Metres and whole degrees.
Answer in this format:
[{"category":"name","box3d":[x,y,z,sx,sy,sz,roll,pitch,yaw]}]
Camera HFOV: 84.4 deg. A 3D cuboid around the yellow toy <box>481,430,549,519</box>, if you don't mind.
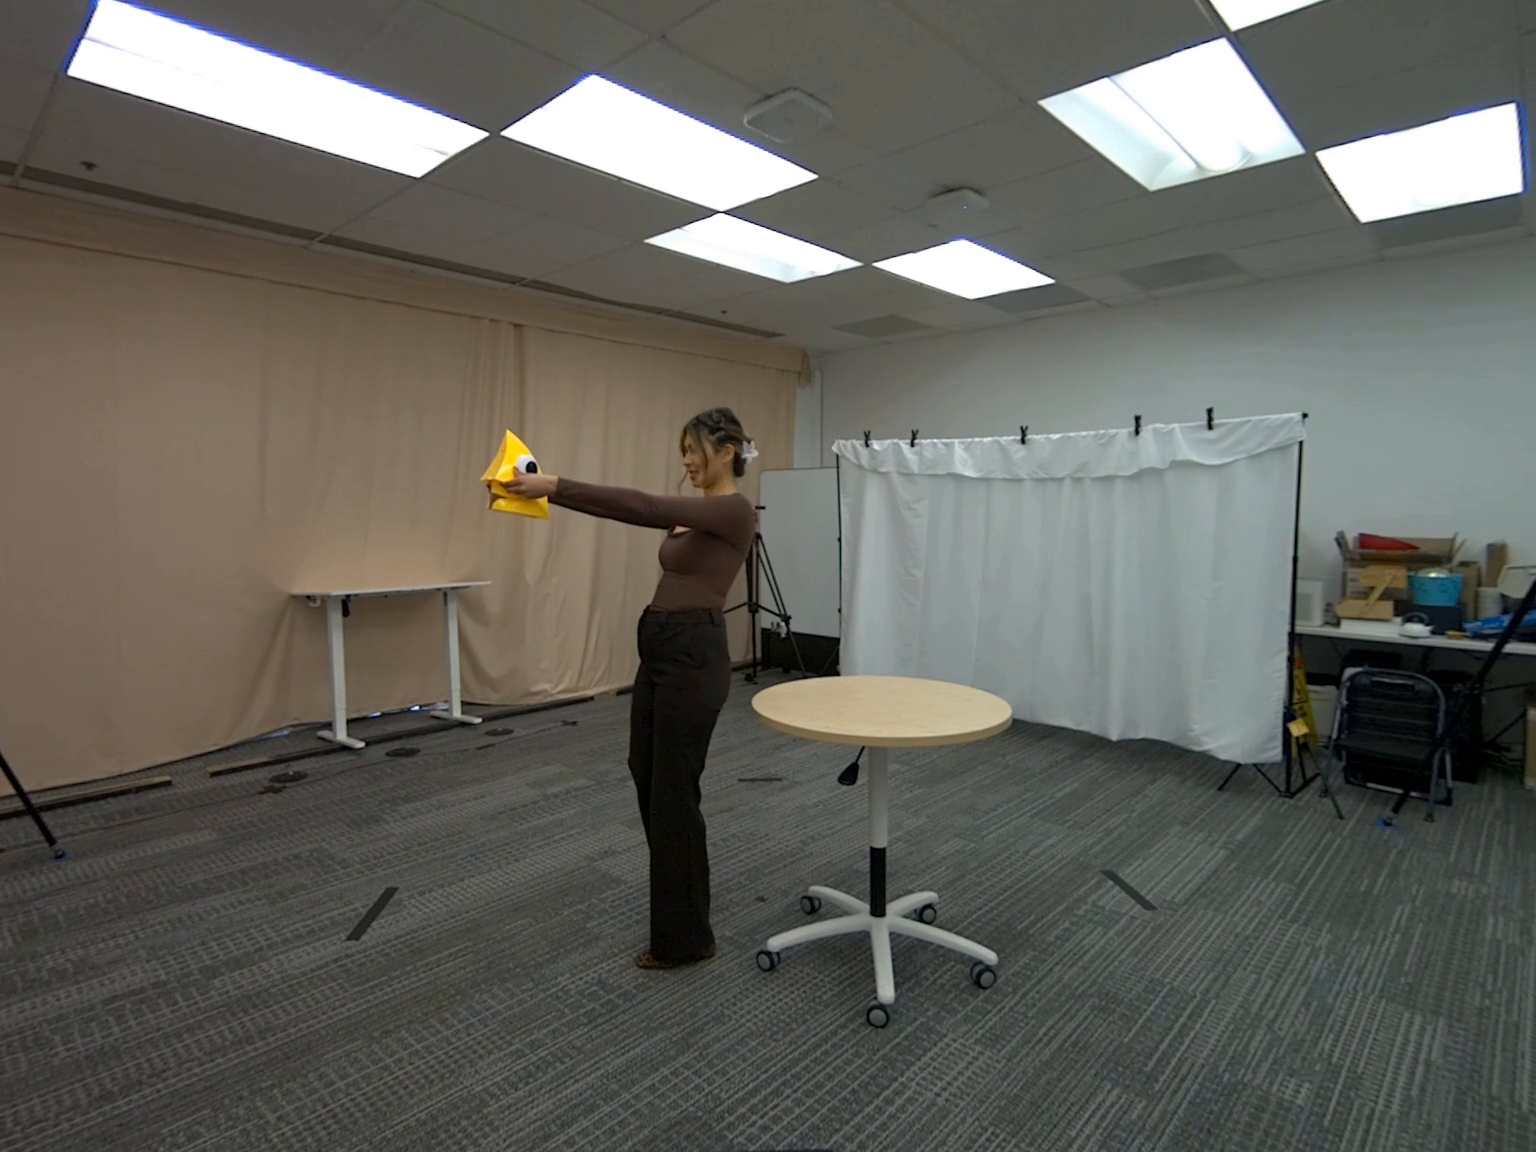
[{"category":"yellow toy","box3d":[-0.709,-0.295,2.417,0.187,0.231,0.211,10,-2,-30]}]
